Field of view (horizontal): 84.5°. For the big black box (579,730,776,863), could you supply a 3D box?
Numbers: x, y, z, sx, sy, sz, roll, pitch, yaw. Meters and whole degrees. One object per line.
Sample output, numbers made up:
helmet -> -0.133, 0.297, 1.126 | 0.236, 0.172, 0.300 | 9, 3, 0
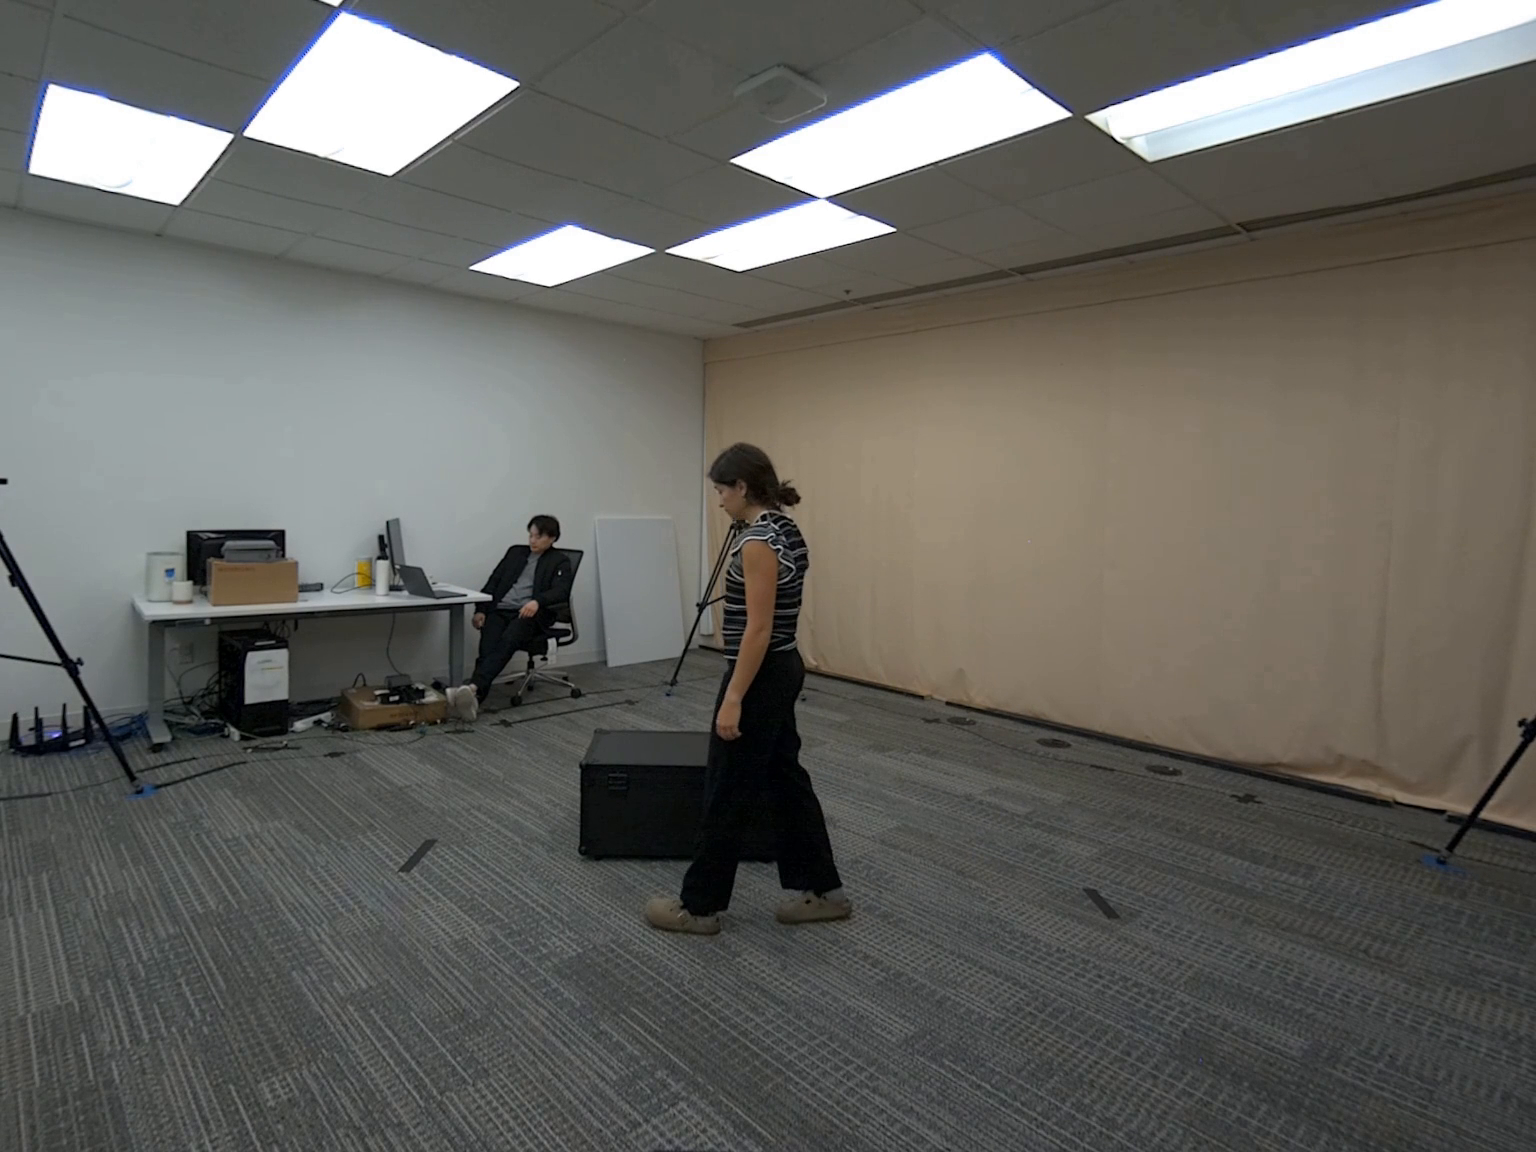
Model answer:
big black box -> -0.317, 0.881, 3.434 | 0.859, 0.395, 0.524 | 1, 5, -3
